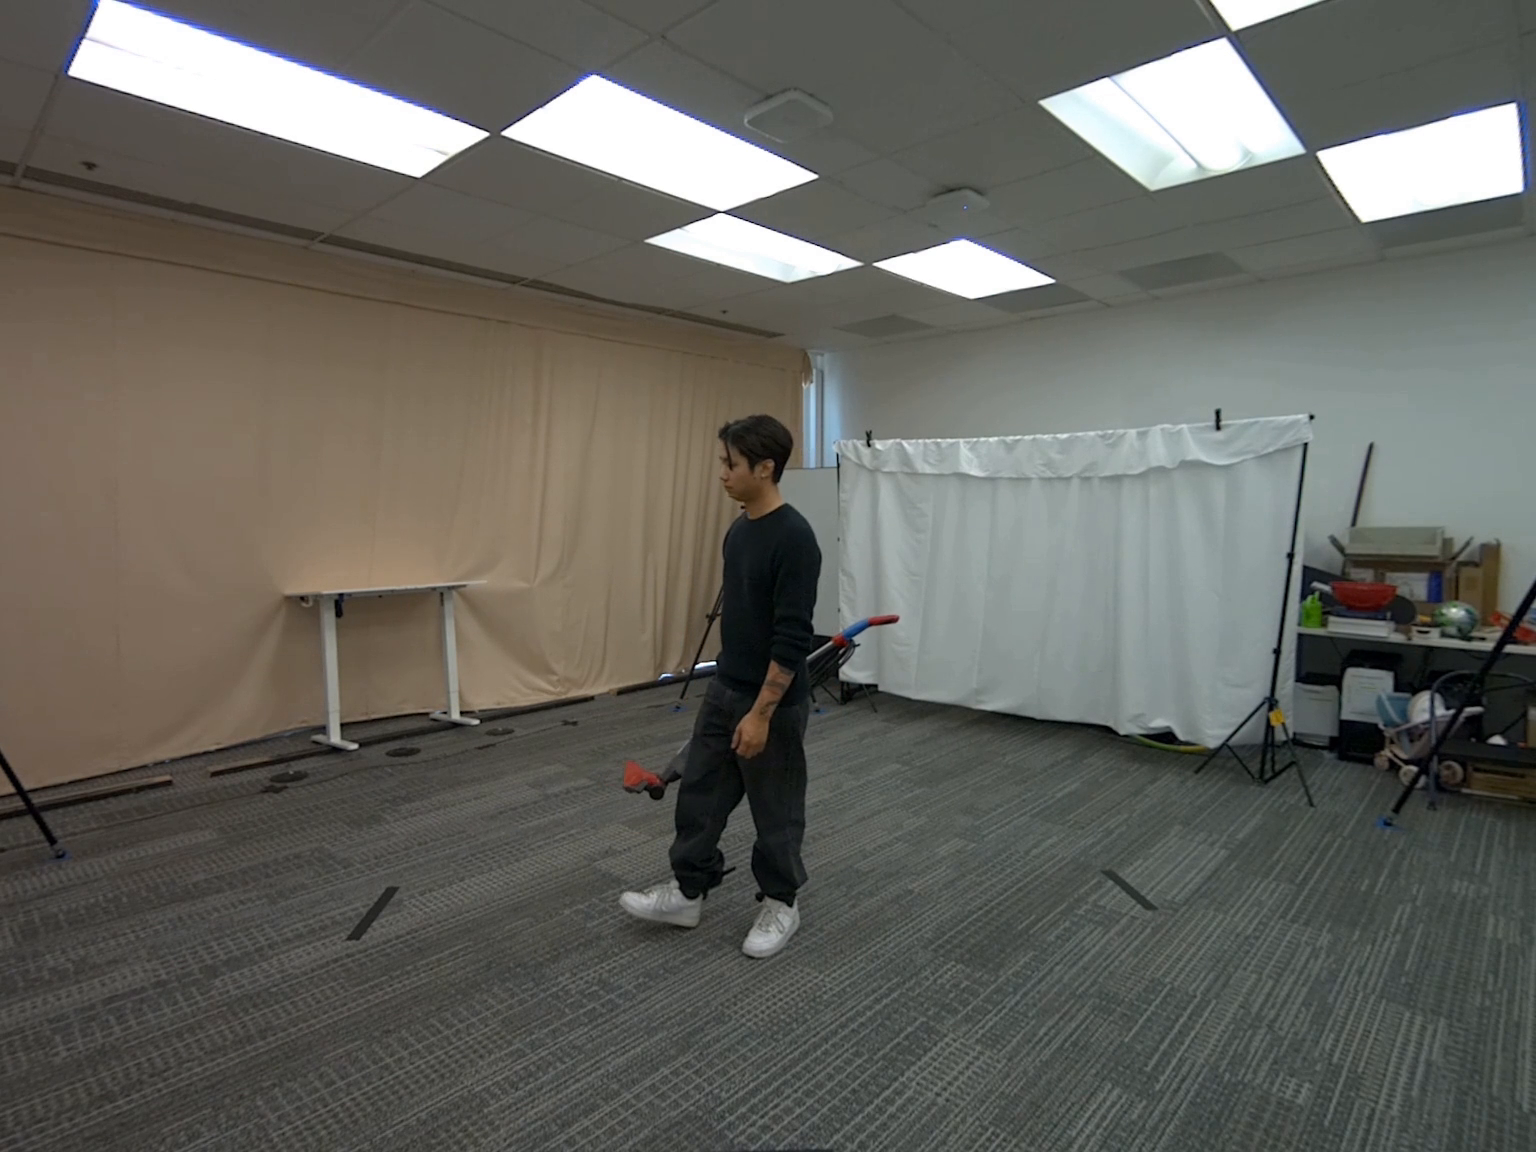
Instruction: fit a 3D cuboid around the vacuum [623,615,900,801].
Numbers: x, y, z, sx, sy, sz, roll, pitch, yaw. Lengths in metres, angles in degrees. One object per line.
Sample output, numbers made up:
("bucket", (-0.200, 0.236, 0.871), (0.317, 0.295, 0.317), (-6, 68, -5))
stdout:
("vacuum", (0.002, 0.438, 2.908), (1.048, 0.142, 0.256), (-34, 14, -1))
